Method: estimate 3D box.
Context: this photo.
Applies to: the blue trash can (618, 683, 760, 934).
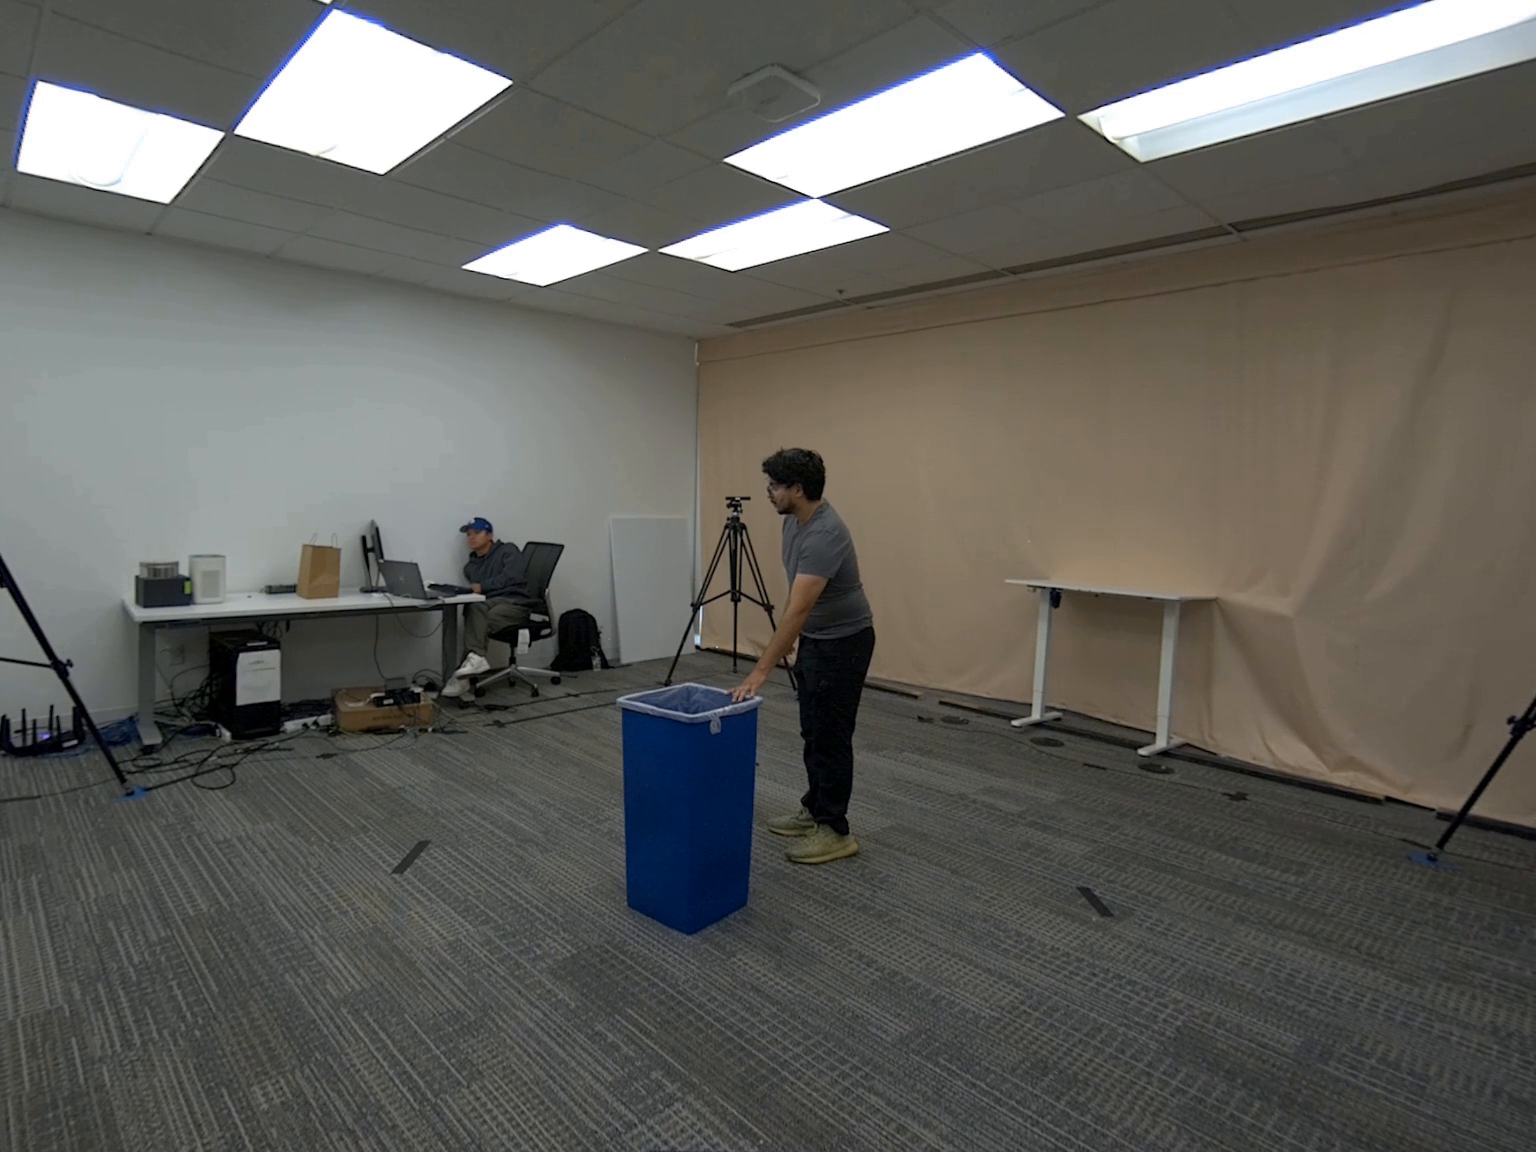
[{"bbox_3d":[-0.281,0.768,2.861,0.383,0.712,0.369,4,4,39],"label":"blue trash can"}]
